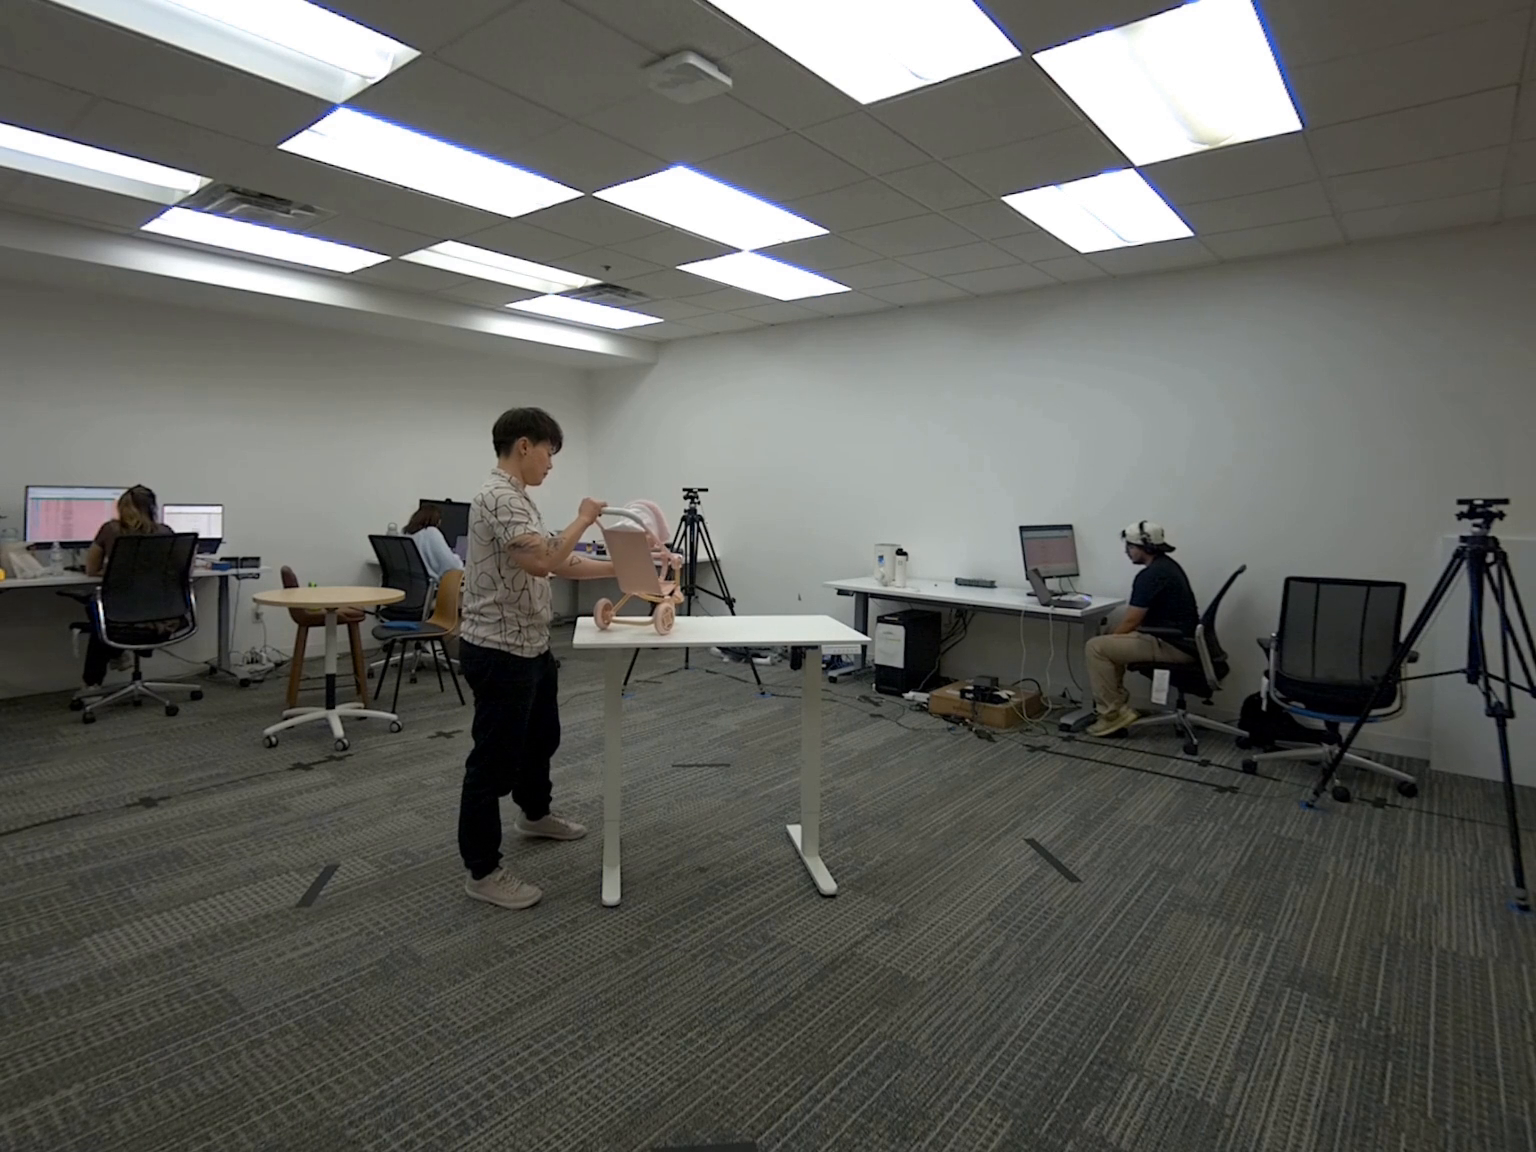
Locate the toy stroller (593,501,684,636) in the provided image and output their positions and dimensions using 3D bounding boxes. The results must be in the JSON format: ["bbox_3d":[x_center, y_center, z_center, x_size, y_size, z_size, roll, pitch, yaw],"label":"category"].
[{"bbox_3d":[-0.457,-0.033,3.043,0.289,0.526,0.337,3,18,29],"label":"toy stroller"}]
